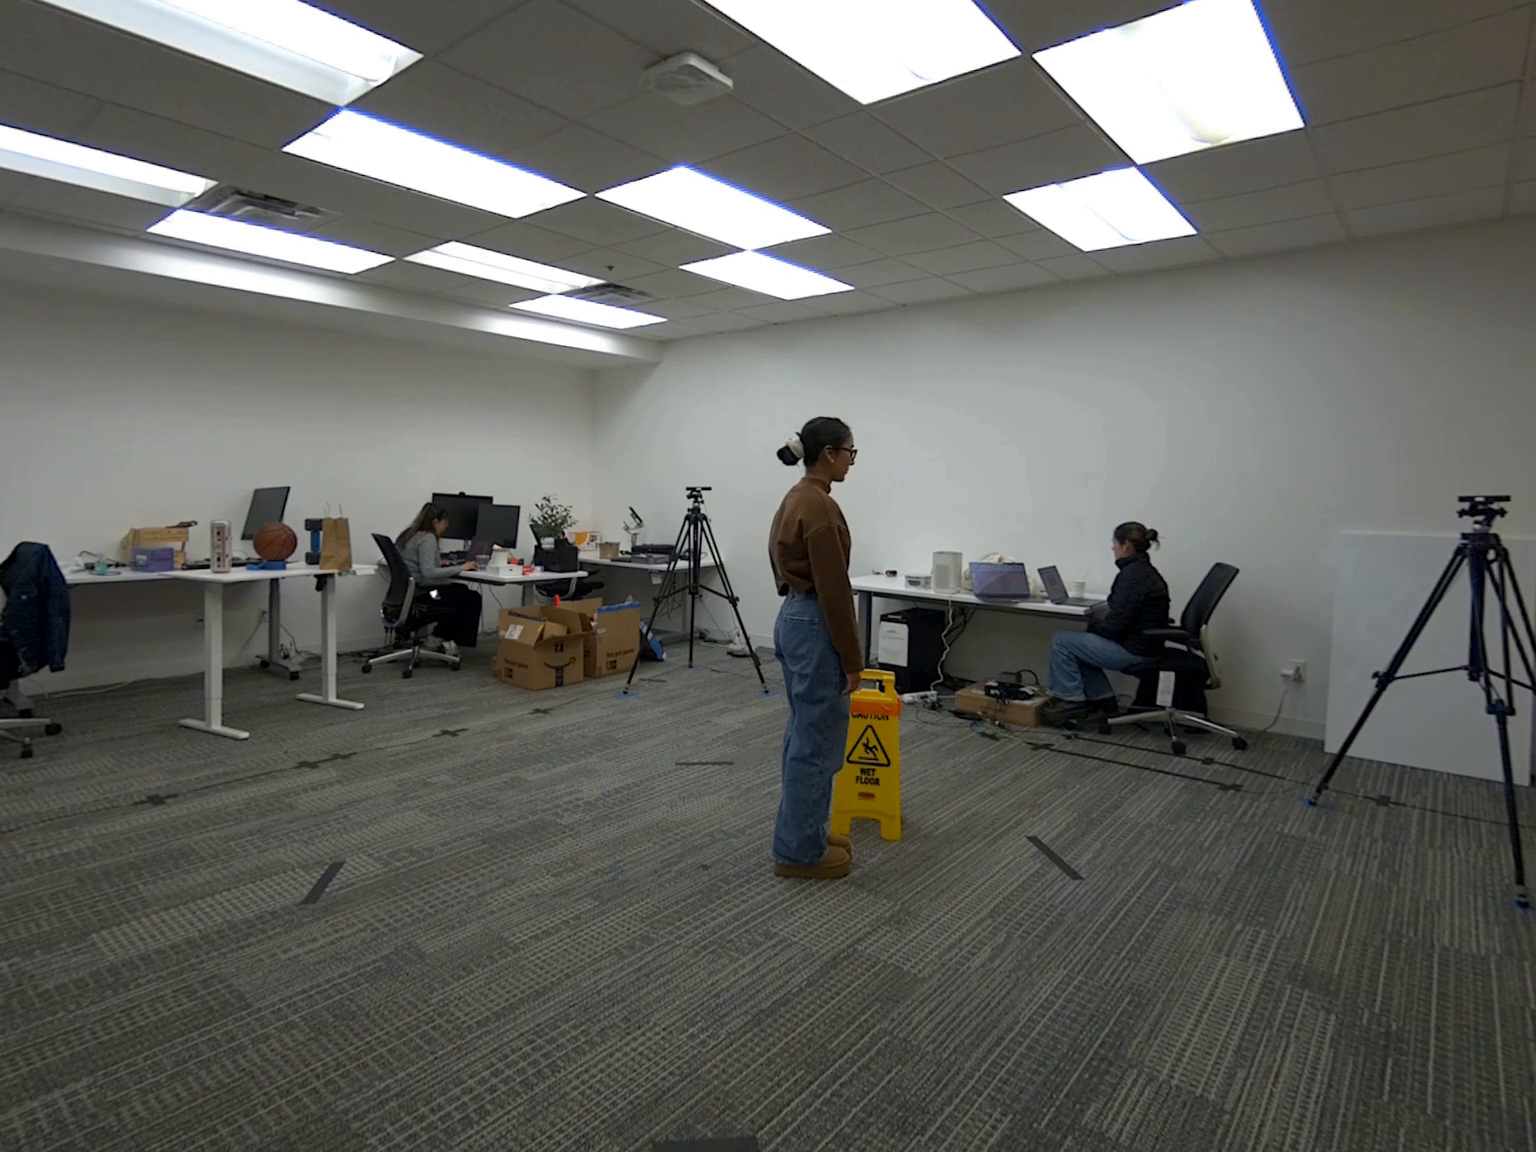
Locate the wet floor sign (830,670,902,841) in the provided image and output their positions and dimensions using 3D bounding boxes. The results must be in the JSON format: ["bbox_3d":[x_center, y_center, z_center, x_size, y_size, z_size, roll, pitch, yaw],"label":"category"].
[{"bbox_3d":[0.410,0.710,3.541,0.285,0.644,0.287,3,3,9],"label":"wet floor sign"}]
